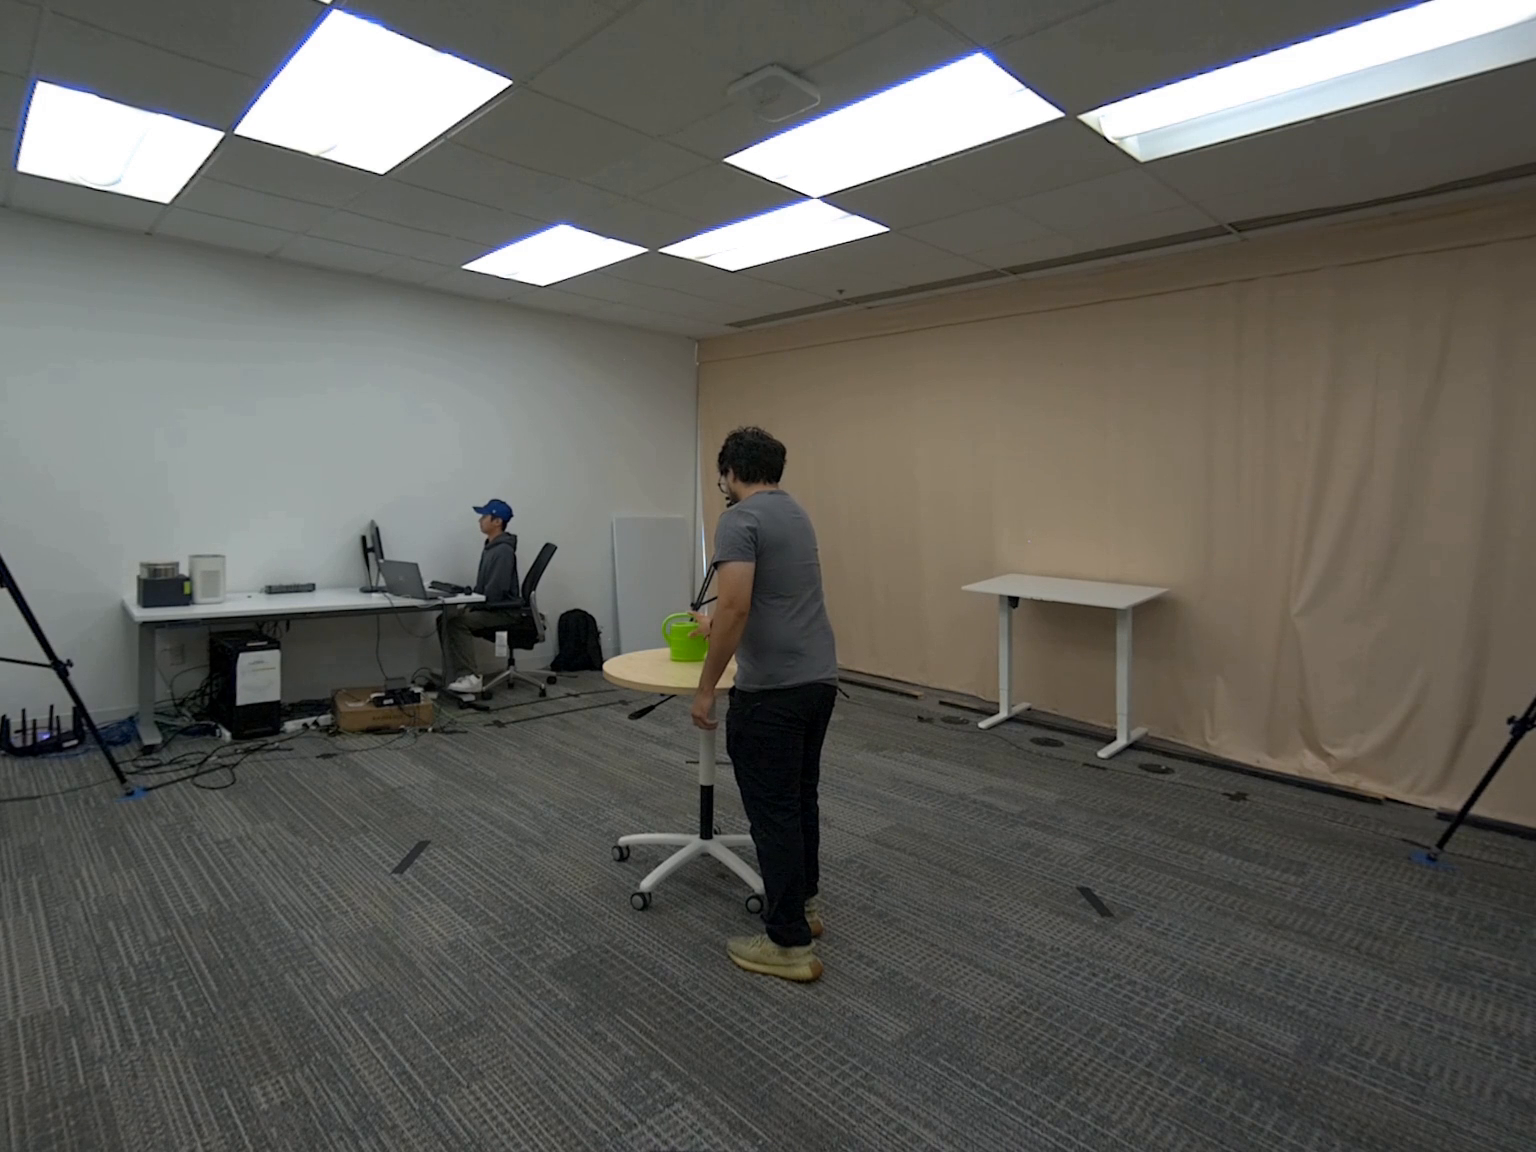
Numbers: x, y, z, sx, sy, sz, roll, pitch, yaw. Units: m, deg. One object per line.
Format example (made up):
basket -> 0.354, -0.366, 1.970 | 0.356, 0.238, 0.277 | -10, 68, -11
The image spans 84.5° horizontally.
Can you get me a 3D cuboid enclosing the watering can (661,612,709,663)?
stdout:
watering can -> -0.275, 0.233, 3.166 | 0.279, 0.177, 0.098 | -2, 1, 2
